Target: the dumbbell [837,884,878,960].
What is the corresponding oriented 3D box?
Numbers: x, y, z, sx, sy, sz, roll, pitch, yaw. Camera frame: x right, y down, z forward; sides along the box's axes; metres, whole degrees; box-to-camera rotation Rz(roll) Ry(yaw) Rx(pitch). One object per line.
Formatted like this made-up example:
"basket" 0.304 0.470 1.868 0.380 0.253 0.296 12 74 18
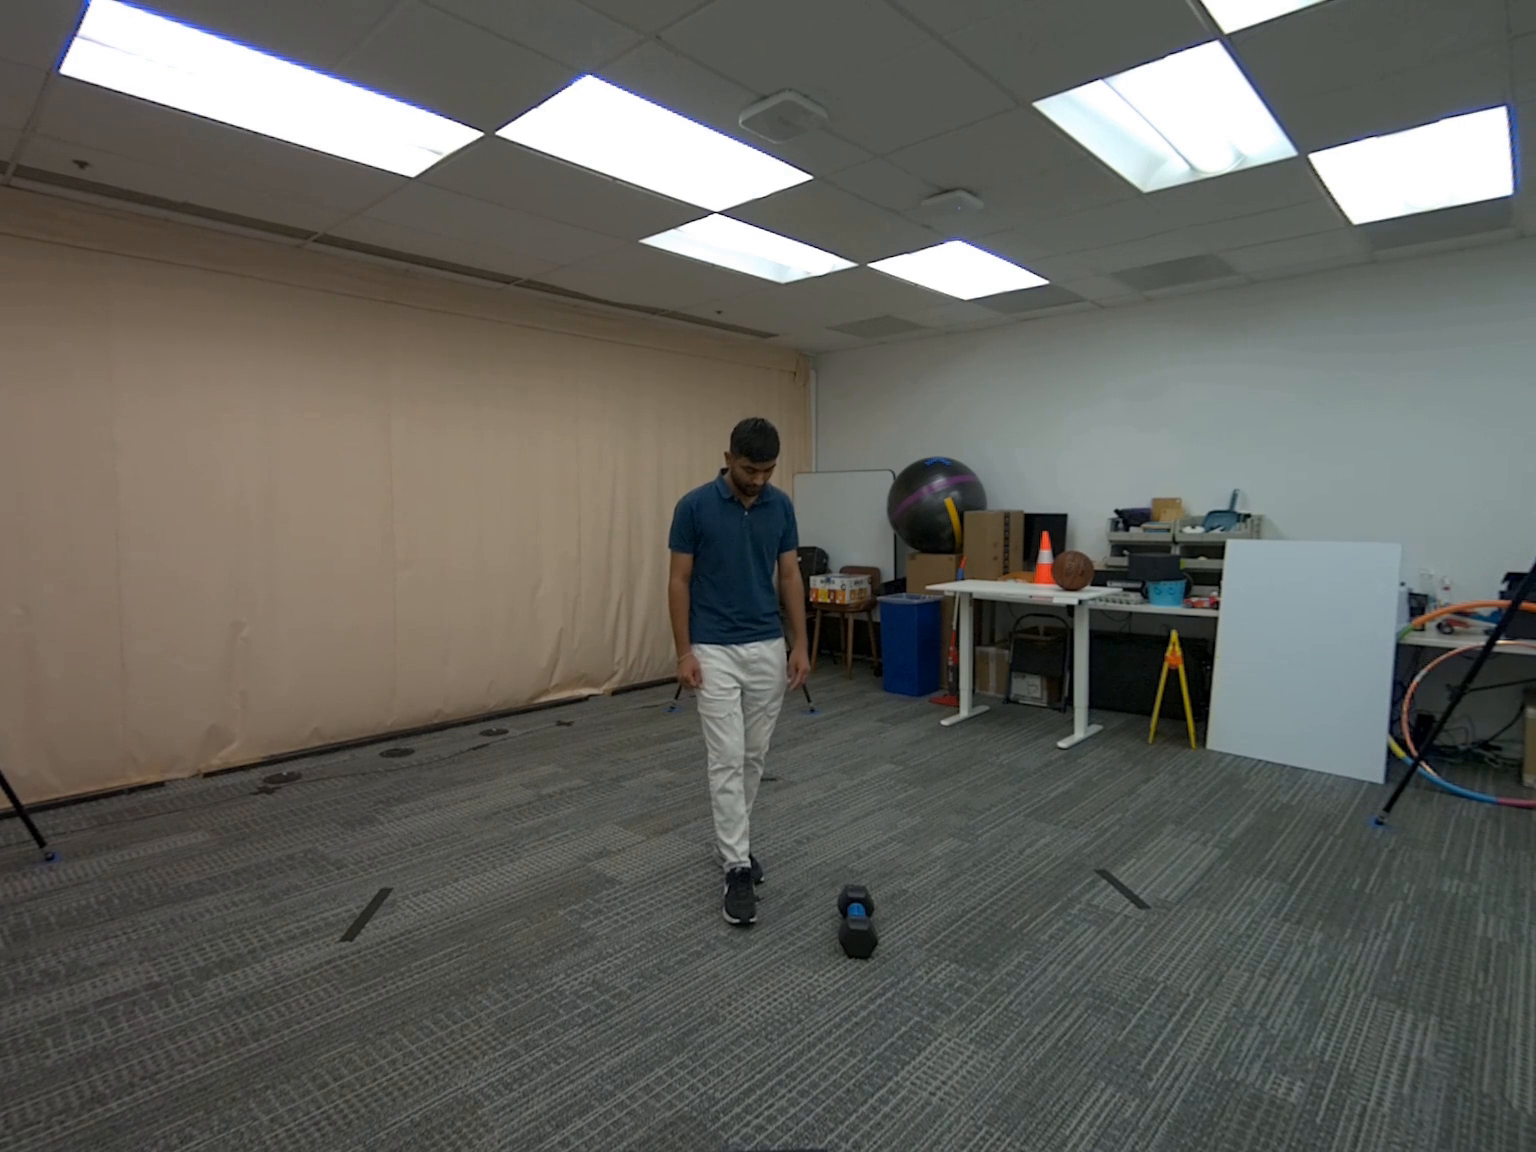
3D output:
"dumbbell" 0.292 1.113 2.715 0.109 0.123 0.292 -29 2 6
